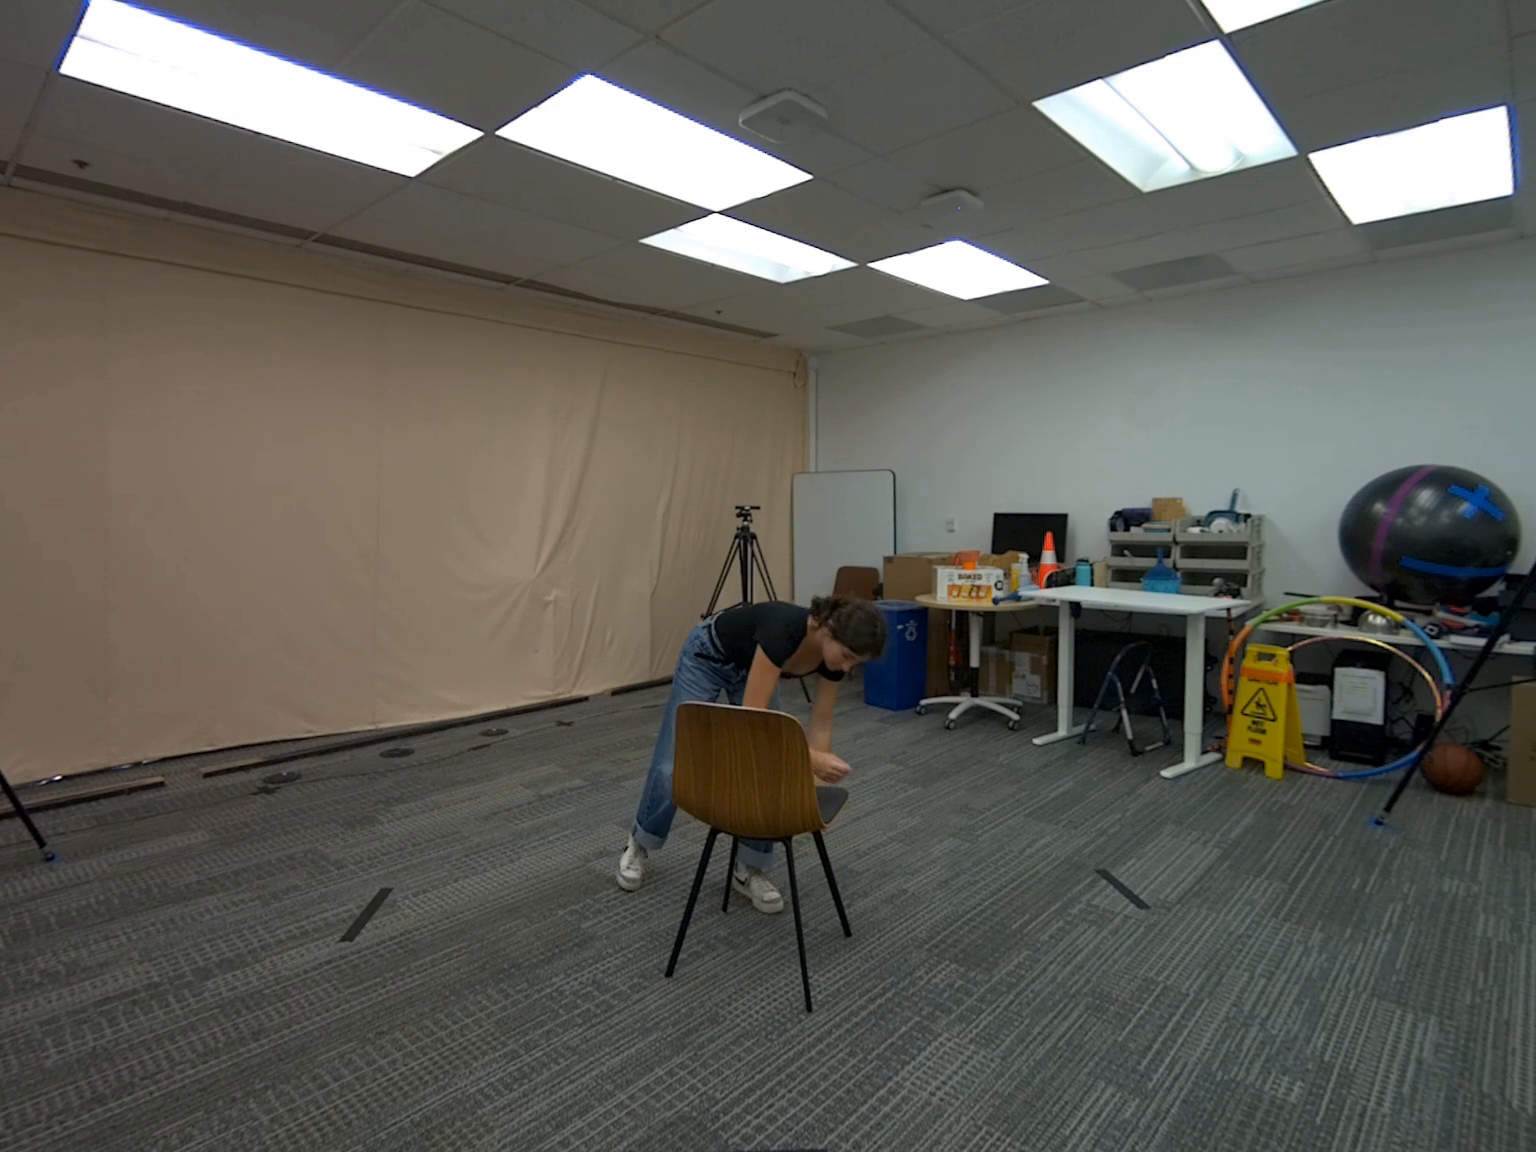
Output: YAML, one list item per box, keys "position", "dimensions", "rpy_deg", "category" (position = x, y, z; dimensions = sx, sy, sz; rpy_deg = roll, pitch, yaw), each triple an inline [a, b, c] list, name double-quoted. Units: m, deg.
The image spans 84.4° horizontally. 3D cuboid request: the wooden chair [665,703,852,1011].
- position: [-0.011, 0.743, 2.589]
  dimensions: [0.489, 0.873, 0.513]
  rpy_deg: [1, 8, 22]
  category: "wooden chair"
